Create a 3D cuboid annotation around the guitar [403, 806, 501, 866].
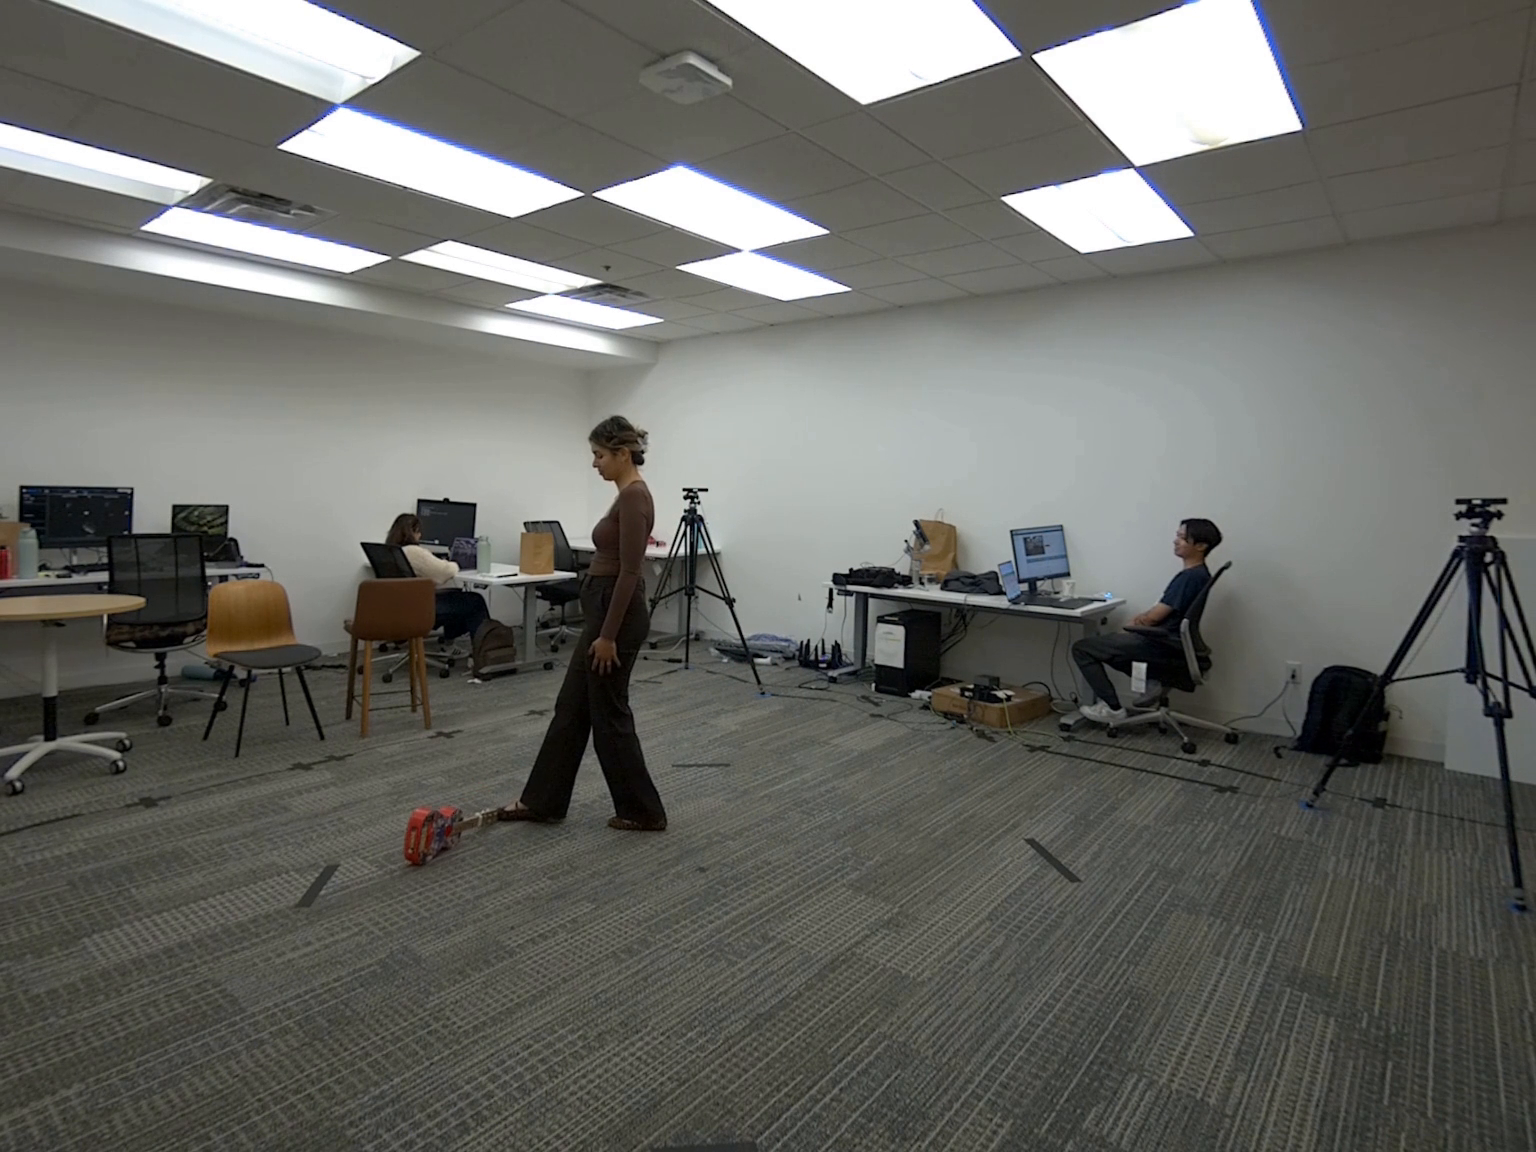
[{"bbox_3d":[-1.232,1.000,3.297,0.072,0.195,0.483,4,-13,16],"label":"guitar"}]
